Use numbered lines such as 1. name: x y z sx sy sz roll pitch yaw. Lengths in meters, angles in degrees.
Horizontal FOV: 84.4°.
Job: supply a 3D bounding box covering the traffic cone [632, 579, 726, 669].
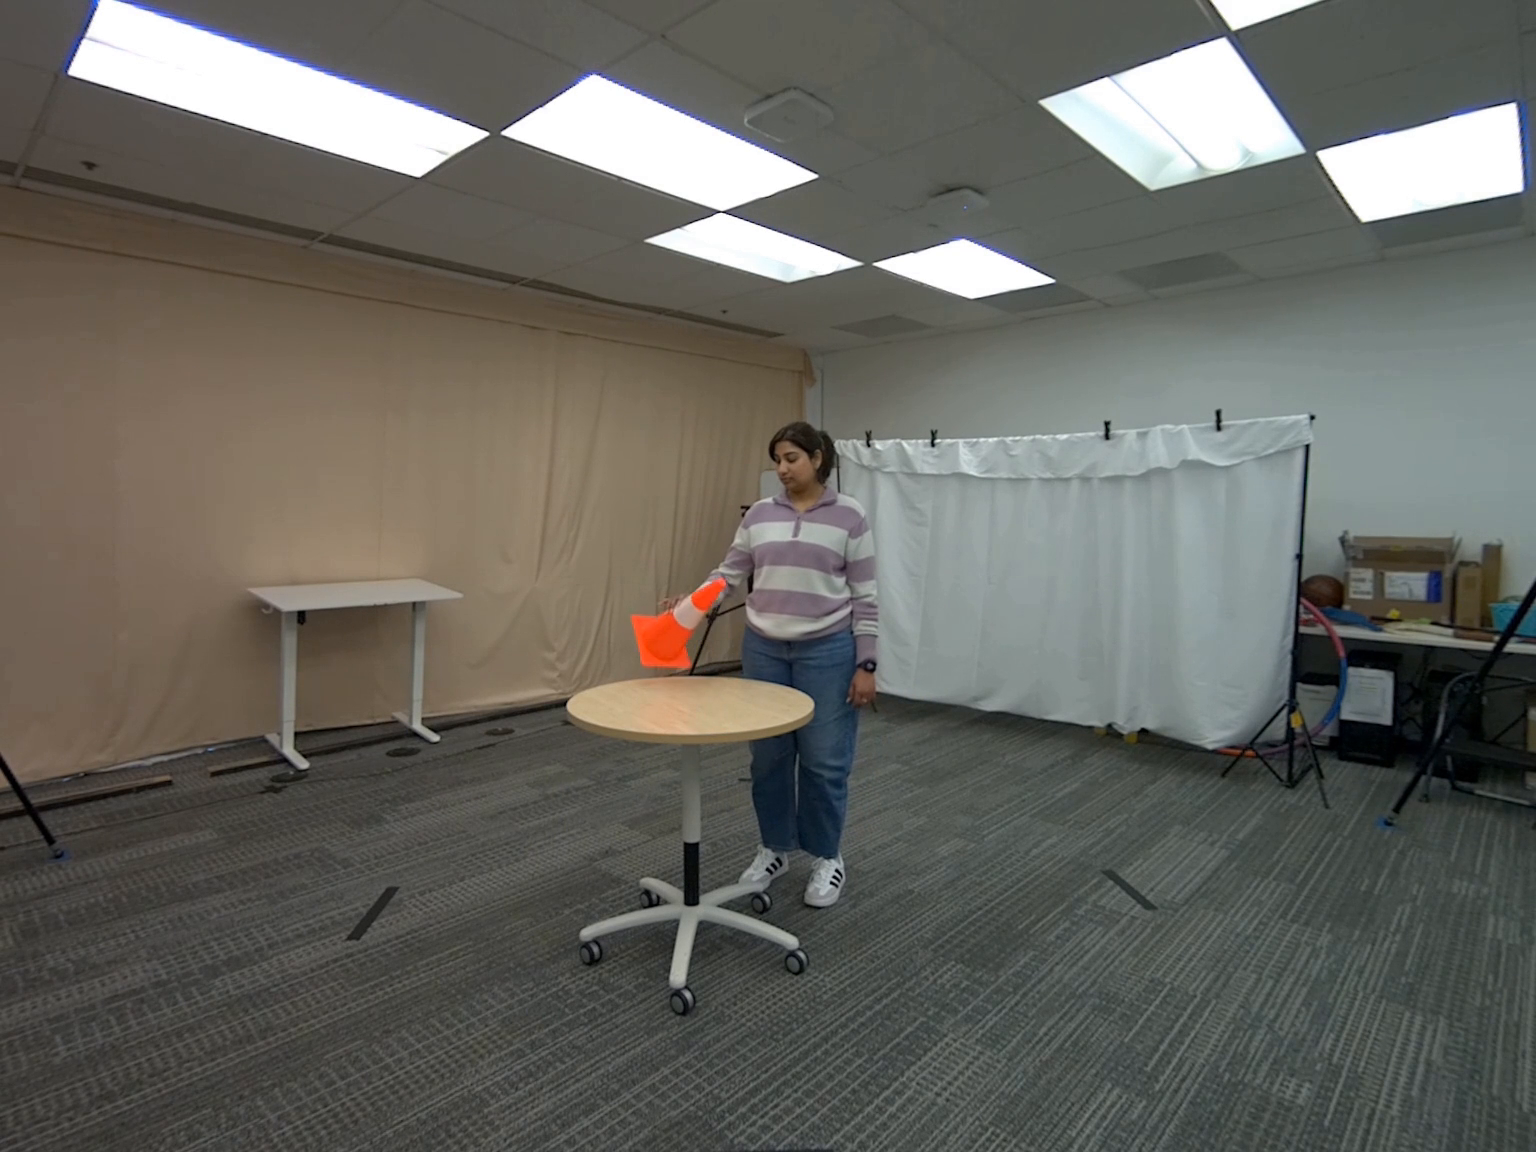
1. traffic cone: -0.262 0.128 2.802 0.198 0.208 0.387 9 -41 -37
